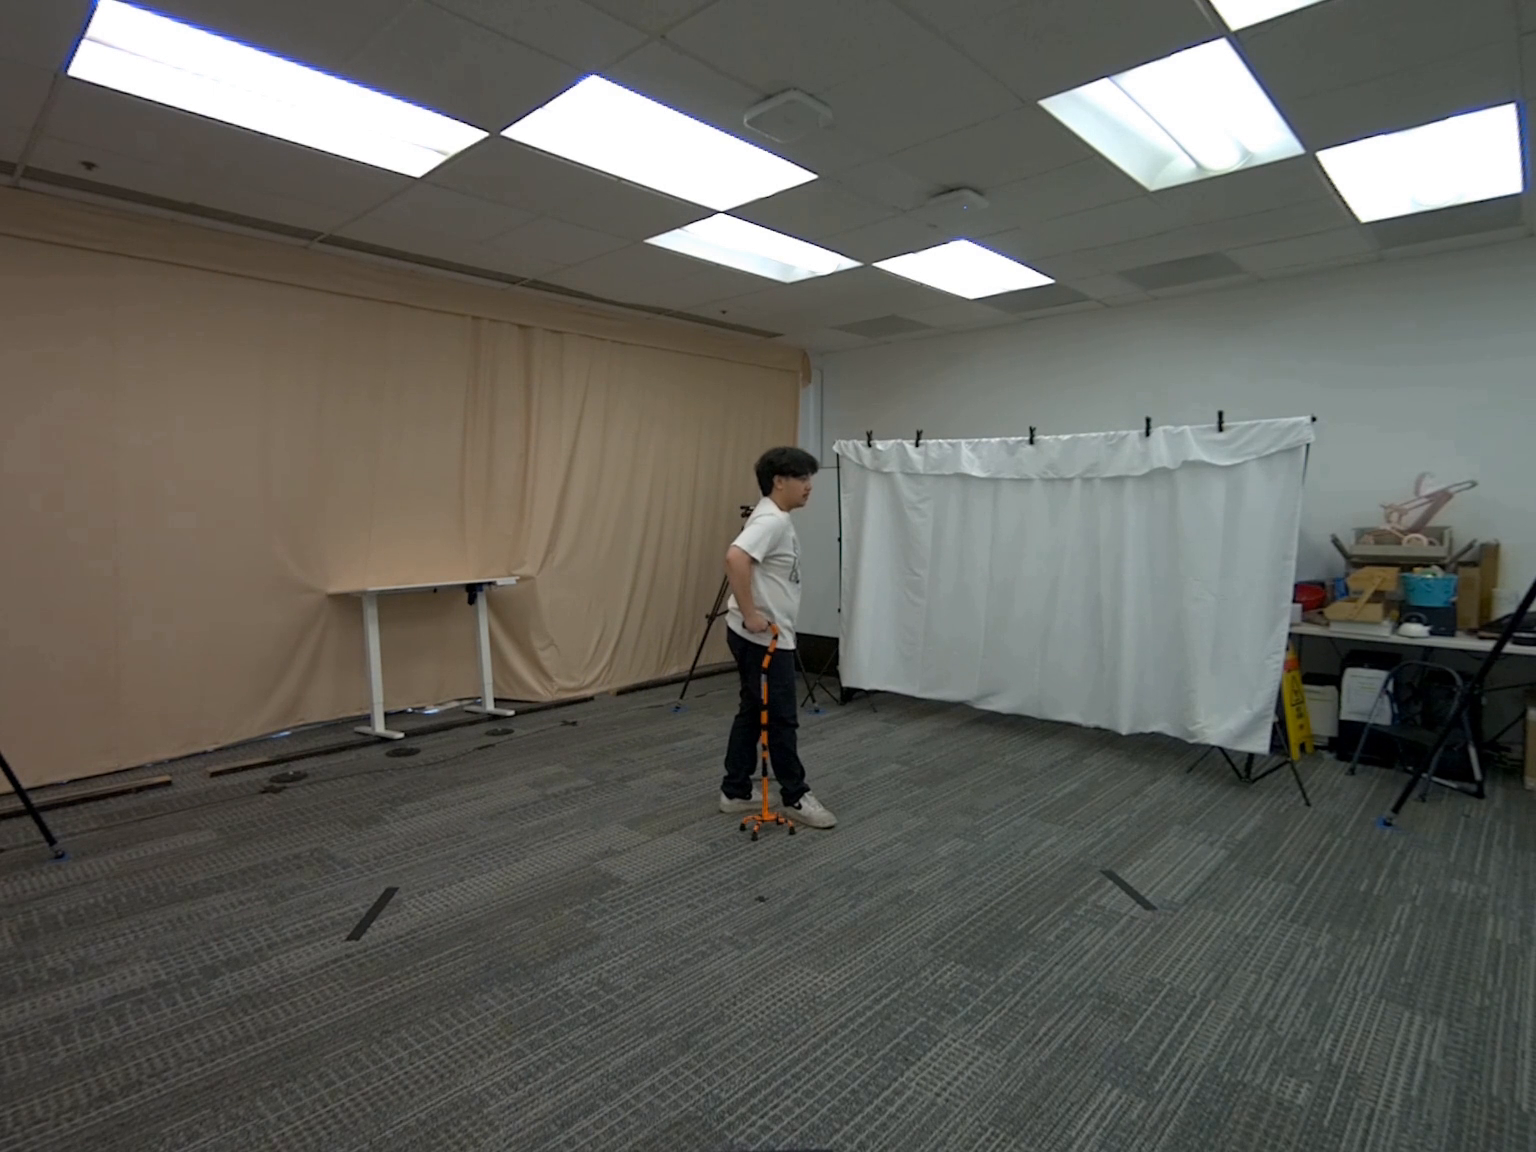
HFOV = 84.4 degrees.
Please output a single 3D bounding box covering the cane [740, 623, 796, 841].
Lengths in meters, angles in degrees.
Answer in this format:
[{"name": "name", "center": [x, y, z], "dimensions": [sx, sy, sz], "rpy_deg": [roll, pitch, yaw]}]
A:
[{"name": "cane", "center": [-0.005, 0.635, 3.573], "dimensions": [0.202, 0.906, 0.155], "rpy_deg": [-2, 3, -24]}]
